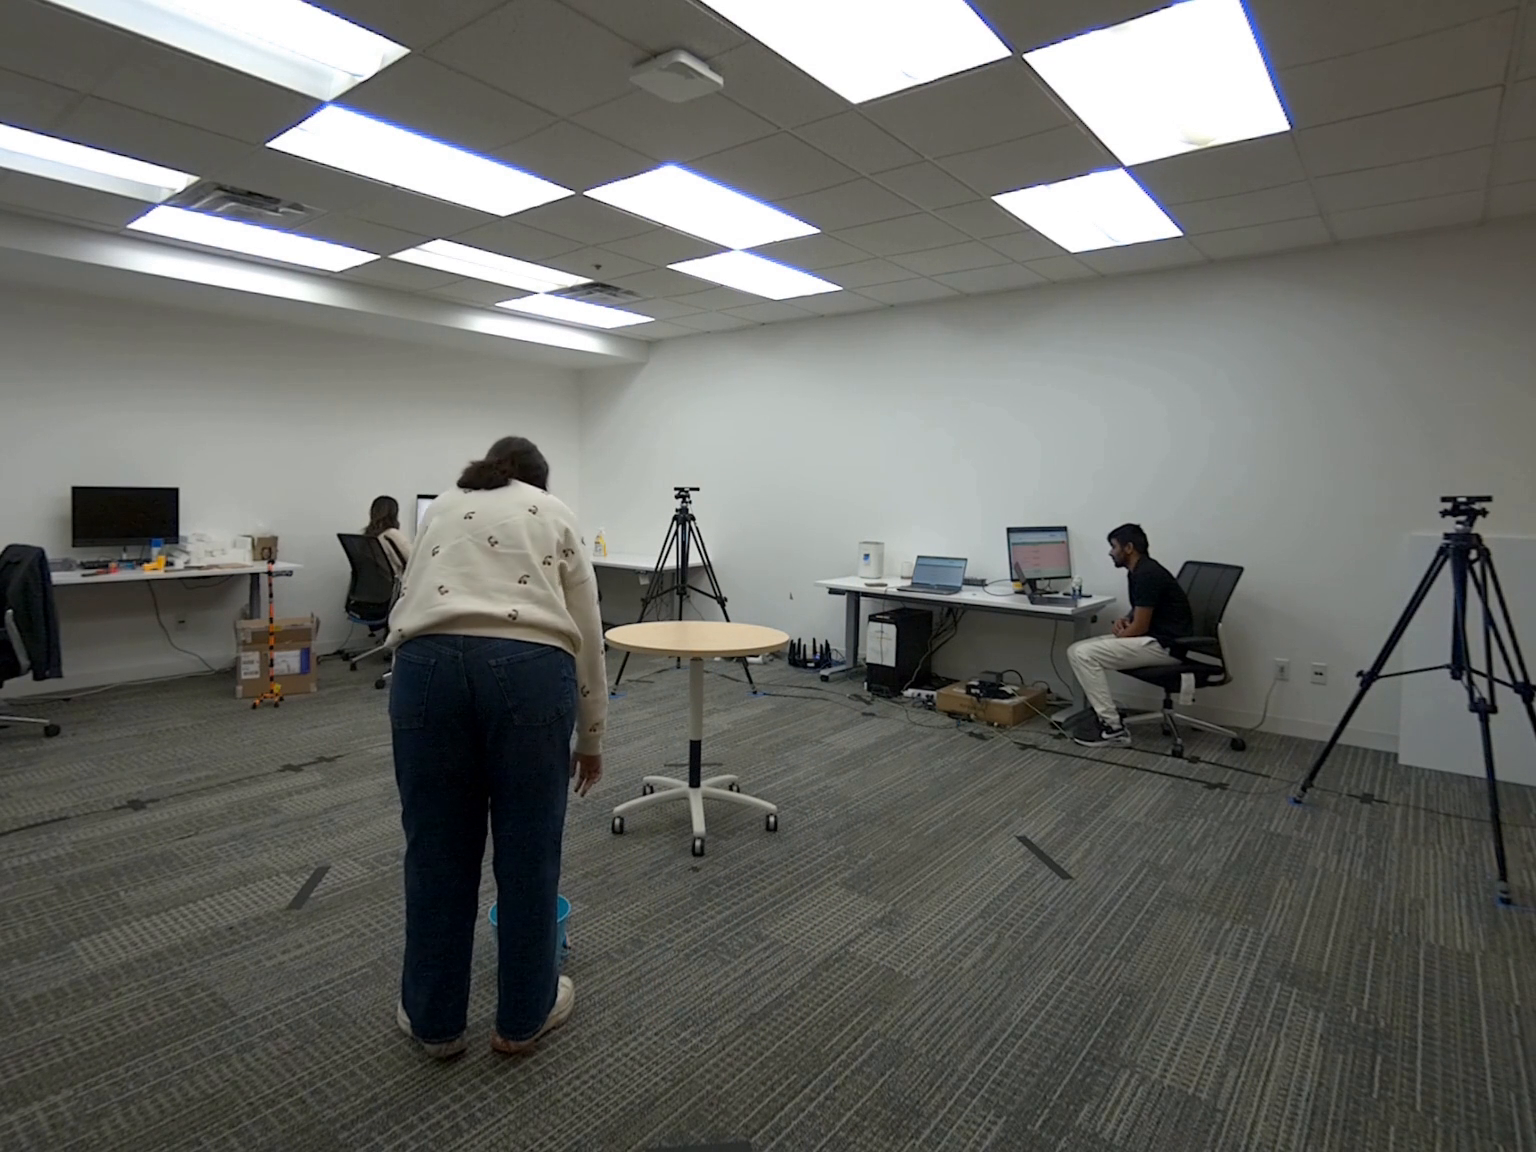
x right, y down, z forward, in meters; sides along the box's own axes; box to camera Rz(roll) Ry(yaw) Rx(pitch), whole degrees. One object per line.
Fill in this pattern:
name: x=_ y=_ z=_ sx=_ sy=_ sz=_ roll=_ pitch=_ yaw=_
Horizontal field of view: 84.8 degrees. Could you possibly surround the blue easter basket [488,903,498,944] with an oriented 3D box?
blue easter basket: x=-0.695 y=1.041 z=2.477 sx=0.243 sy=0.155 sz=0.245 roll=0 pitch=5 yaw=-2
